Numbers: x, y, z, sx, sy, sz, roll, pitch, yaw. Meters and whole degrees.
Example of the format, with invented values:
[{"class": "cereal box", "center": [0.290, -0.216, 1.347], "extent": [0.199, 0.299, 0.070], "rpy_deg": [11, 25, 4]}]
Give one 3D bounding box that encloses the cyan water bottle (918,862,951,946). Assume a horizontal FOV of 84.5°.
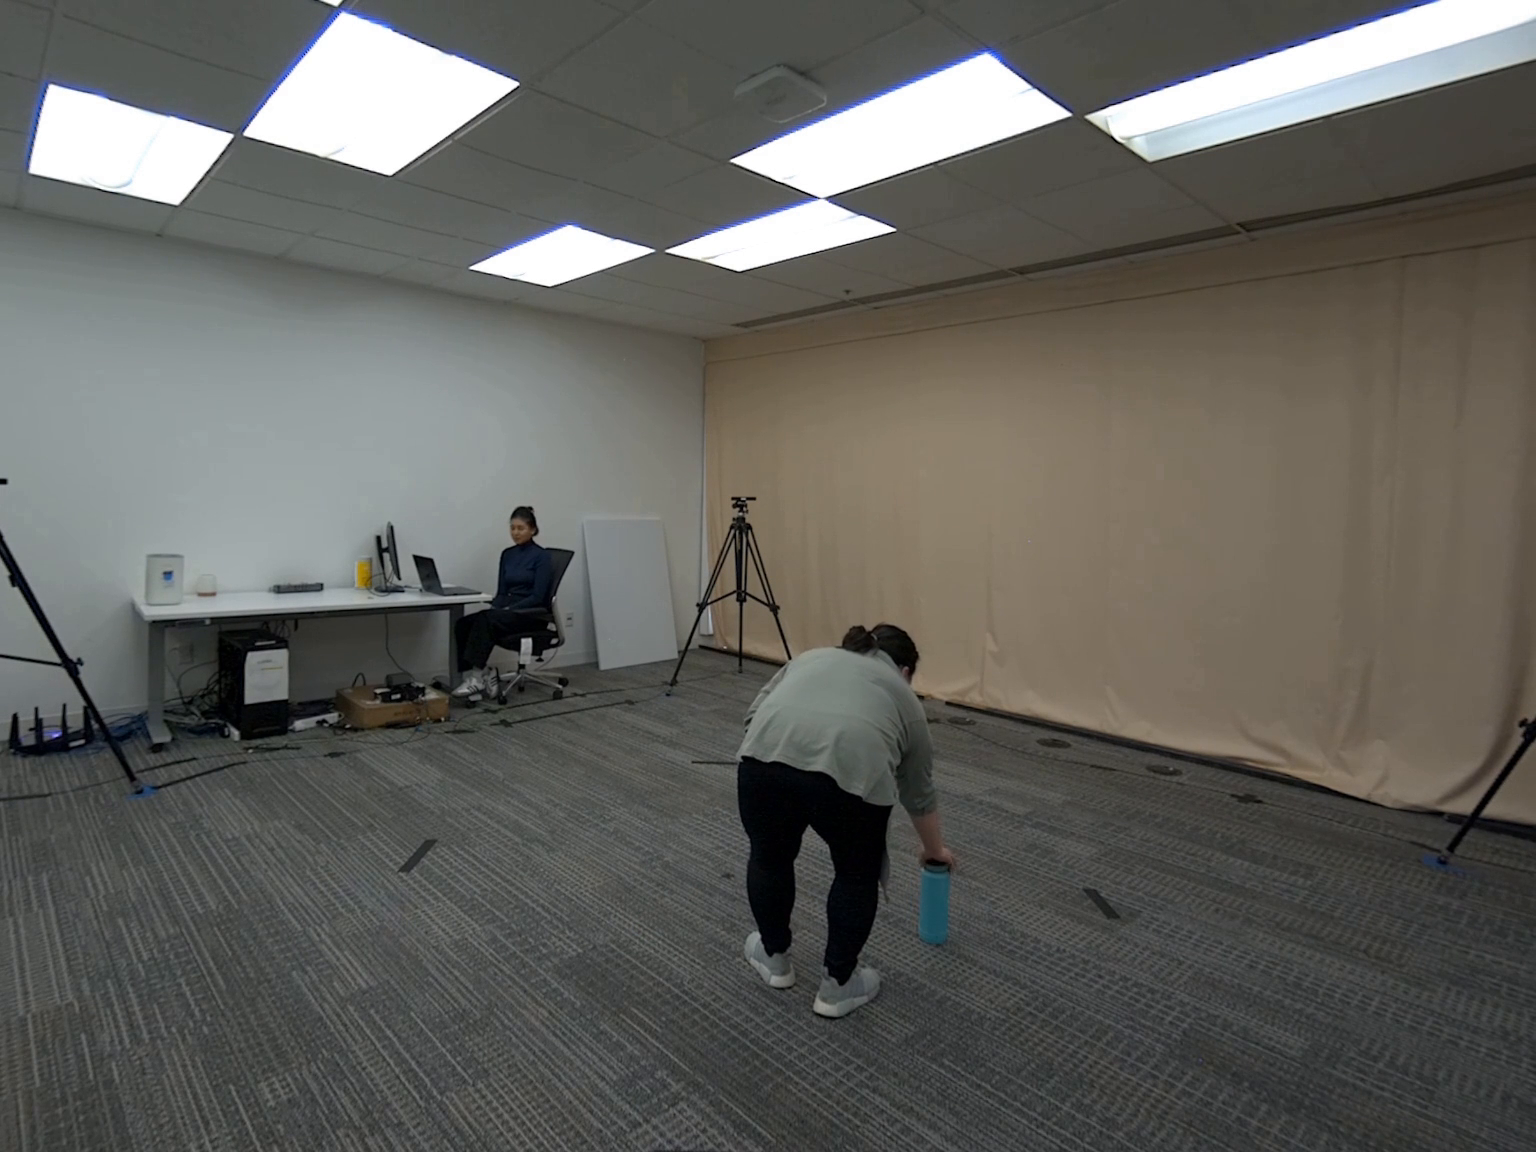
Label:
[{"class": "cyan water bottle", "center": [0.529, 1.020, 2.689], "extent": [0.092, 0.282, 0.093], "rpy_deg": [1, 4, -1]}]
